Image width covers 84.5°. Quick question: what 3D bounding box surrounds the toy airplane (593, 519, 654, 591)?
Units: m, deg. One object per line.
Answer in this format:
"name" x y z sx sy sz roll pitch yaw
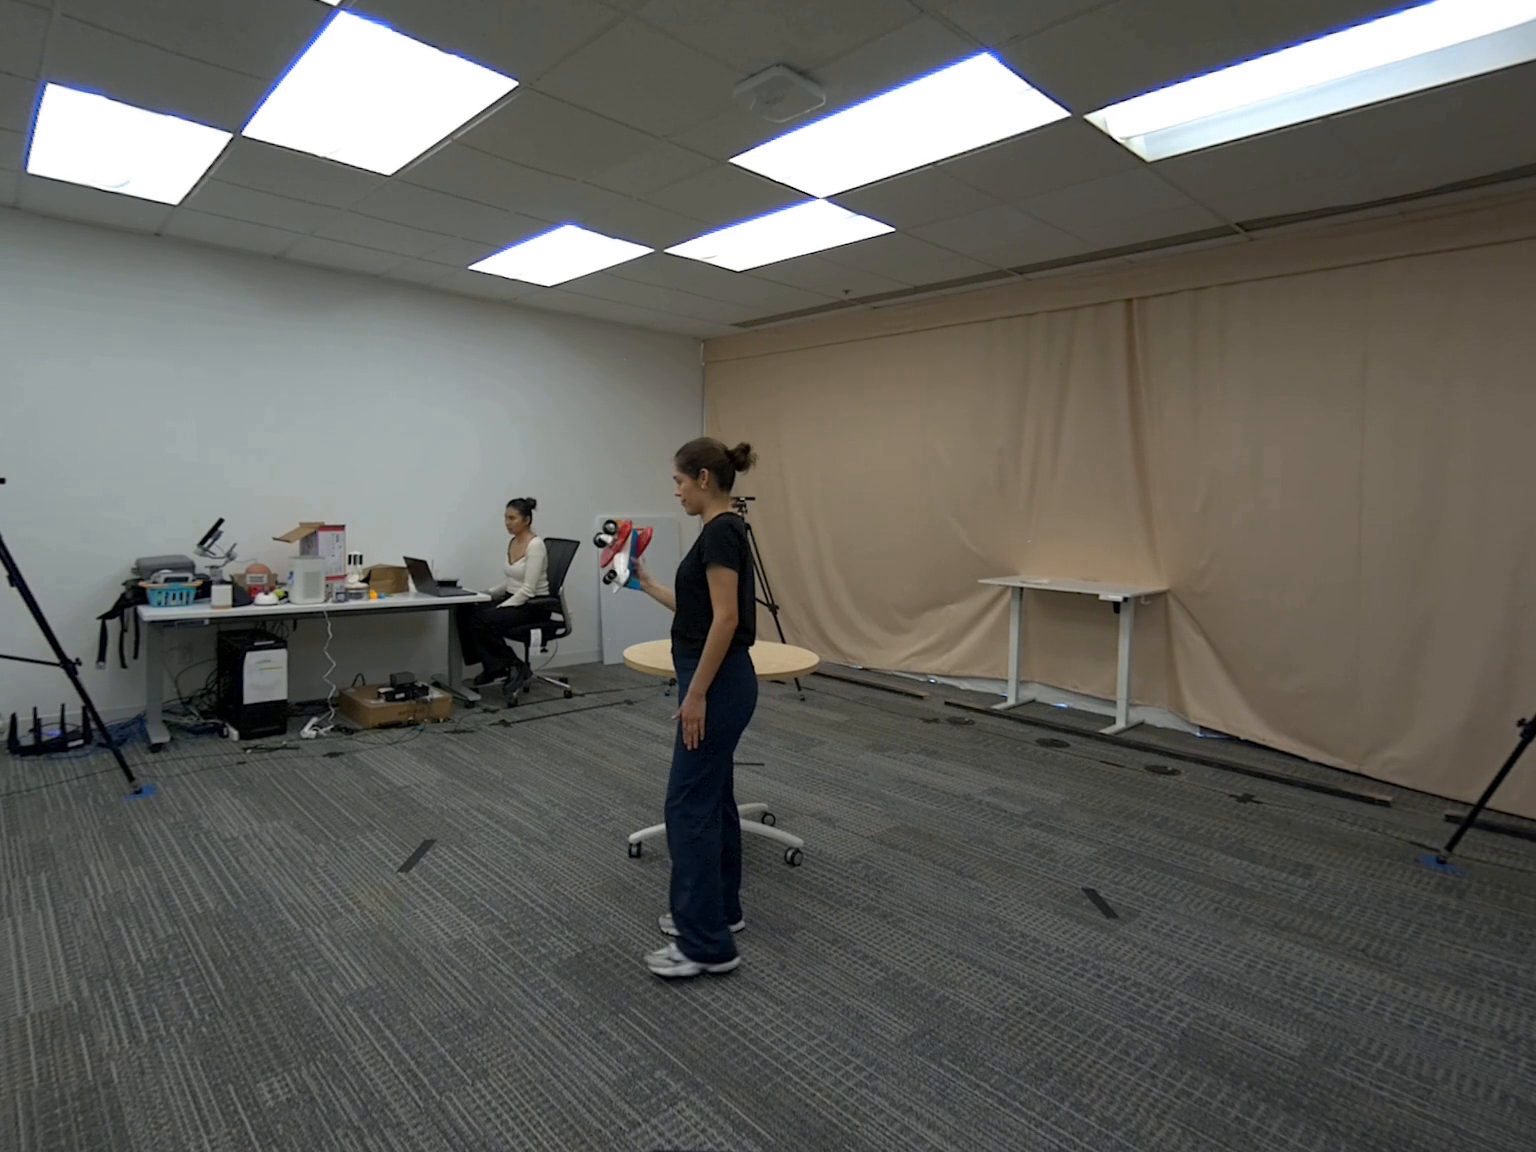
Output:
"toy airplane" -0.503 -0.058 2.946 0.153 0.260 0.256 4 -7 -32
